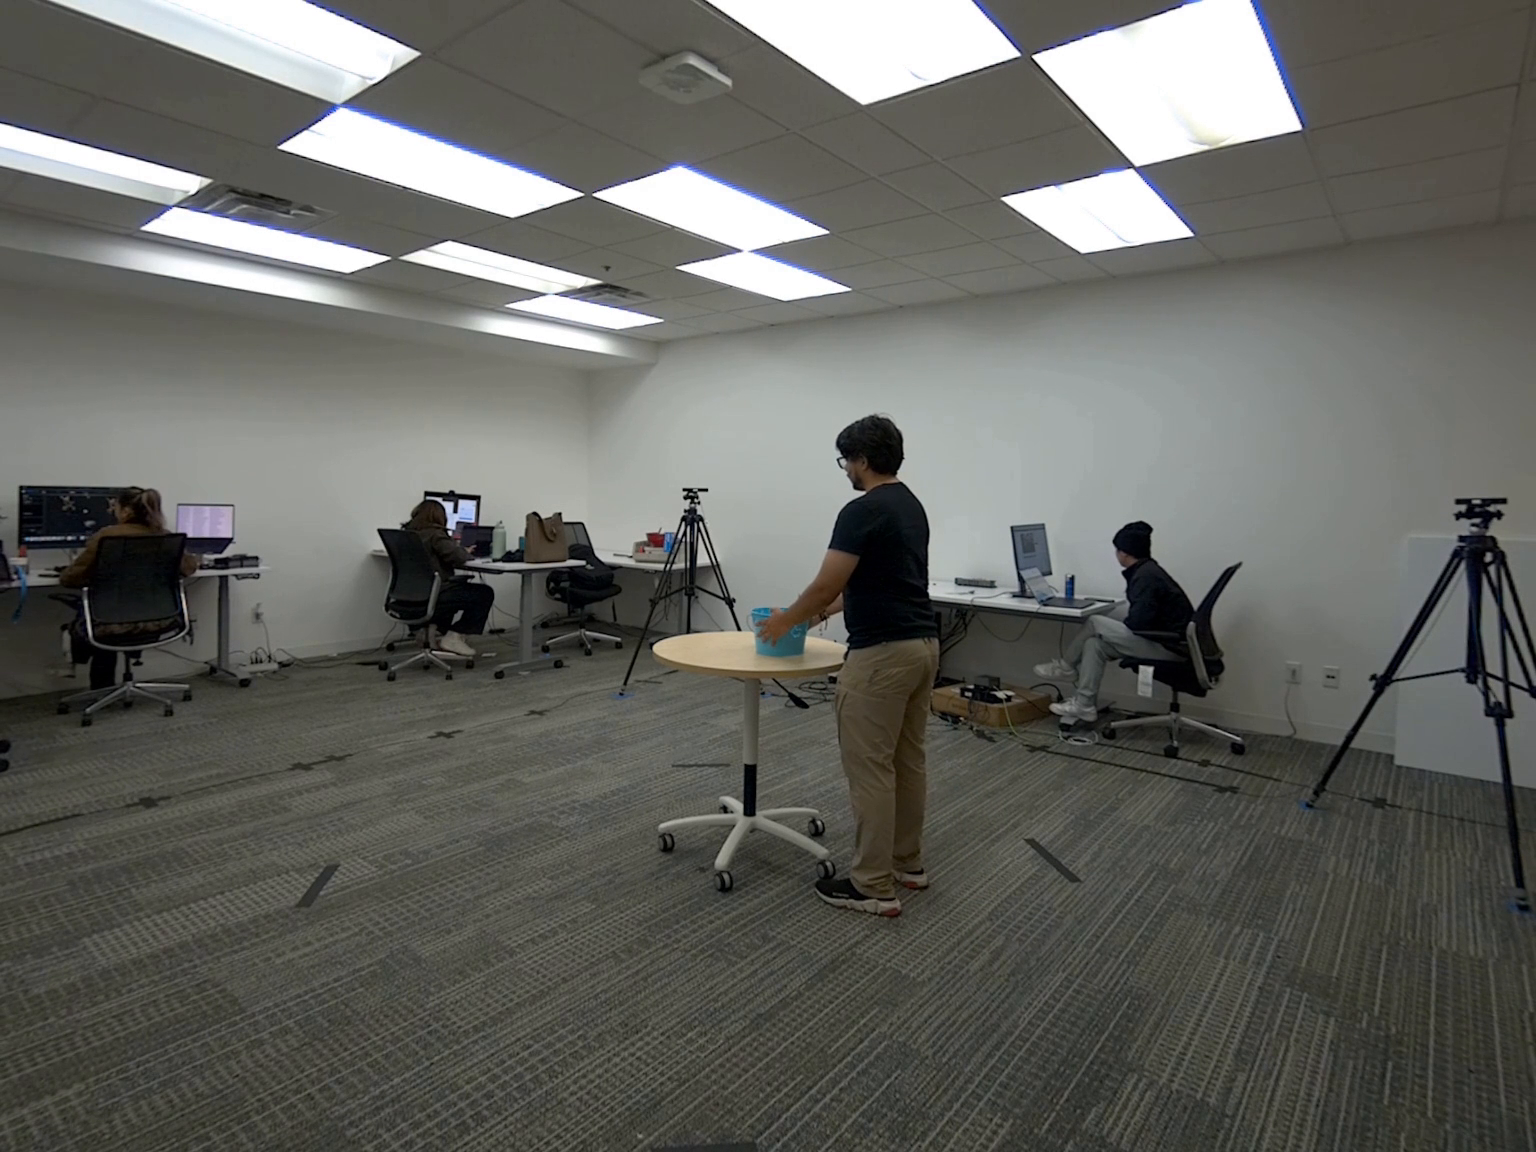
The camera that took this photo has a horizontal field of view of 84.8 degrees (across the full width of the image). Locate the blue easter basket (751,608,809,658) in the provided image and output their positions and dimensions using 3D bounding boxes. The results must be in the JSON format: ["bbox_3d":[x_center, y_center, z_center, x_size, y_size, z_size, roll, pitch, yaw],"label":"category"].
[{"bbox_3d":[0.044,0.209,3.215,0.243,0.155,0.245,3,4,-2],"label":"blue easter basket"}]
